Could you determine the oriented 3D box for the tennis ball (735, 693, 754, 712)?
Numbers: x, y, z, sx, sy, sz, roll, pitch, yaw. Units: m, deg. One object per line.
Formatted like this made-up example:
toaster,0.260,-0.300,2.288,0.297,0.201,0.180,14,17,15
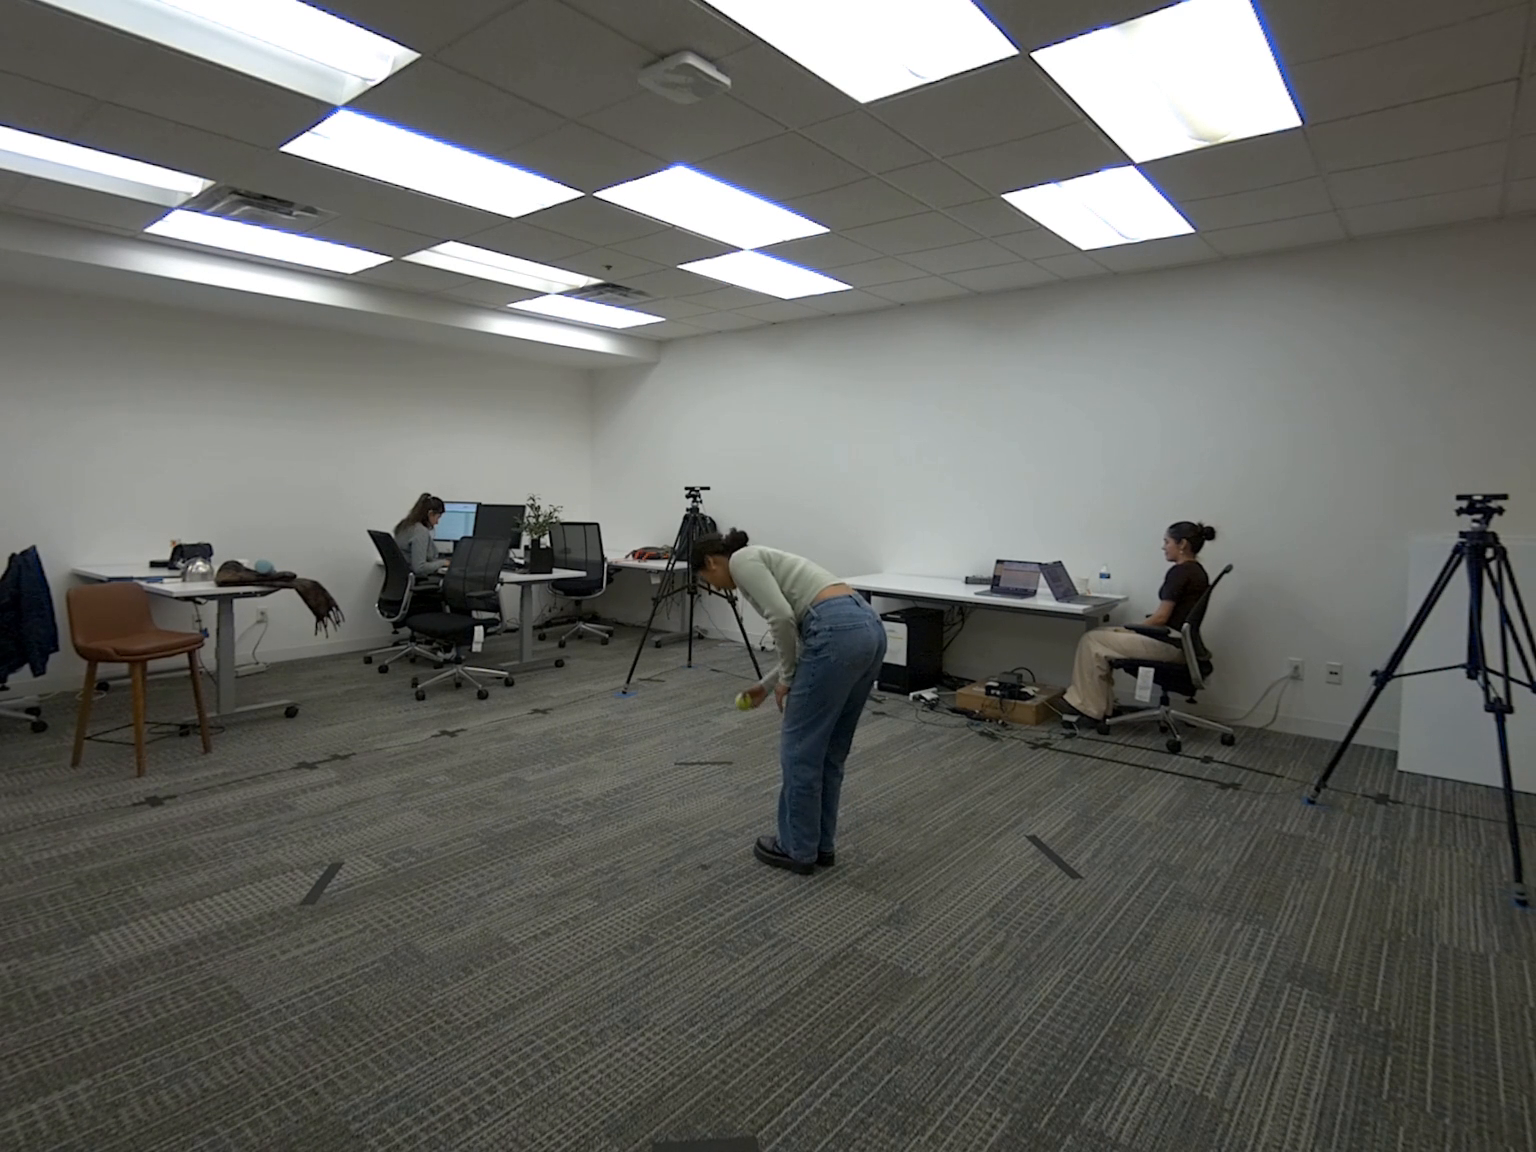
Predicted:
tennis ball,-0.093,0.520,3.346,0.066,0.066,0.067,1,4,-2
